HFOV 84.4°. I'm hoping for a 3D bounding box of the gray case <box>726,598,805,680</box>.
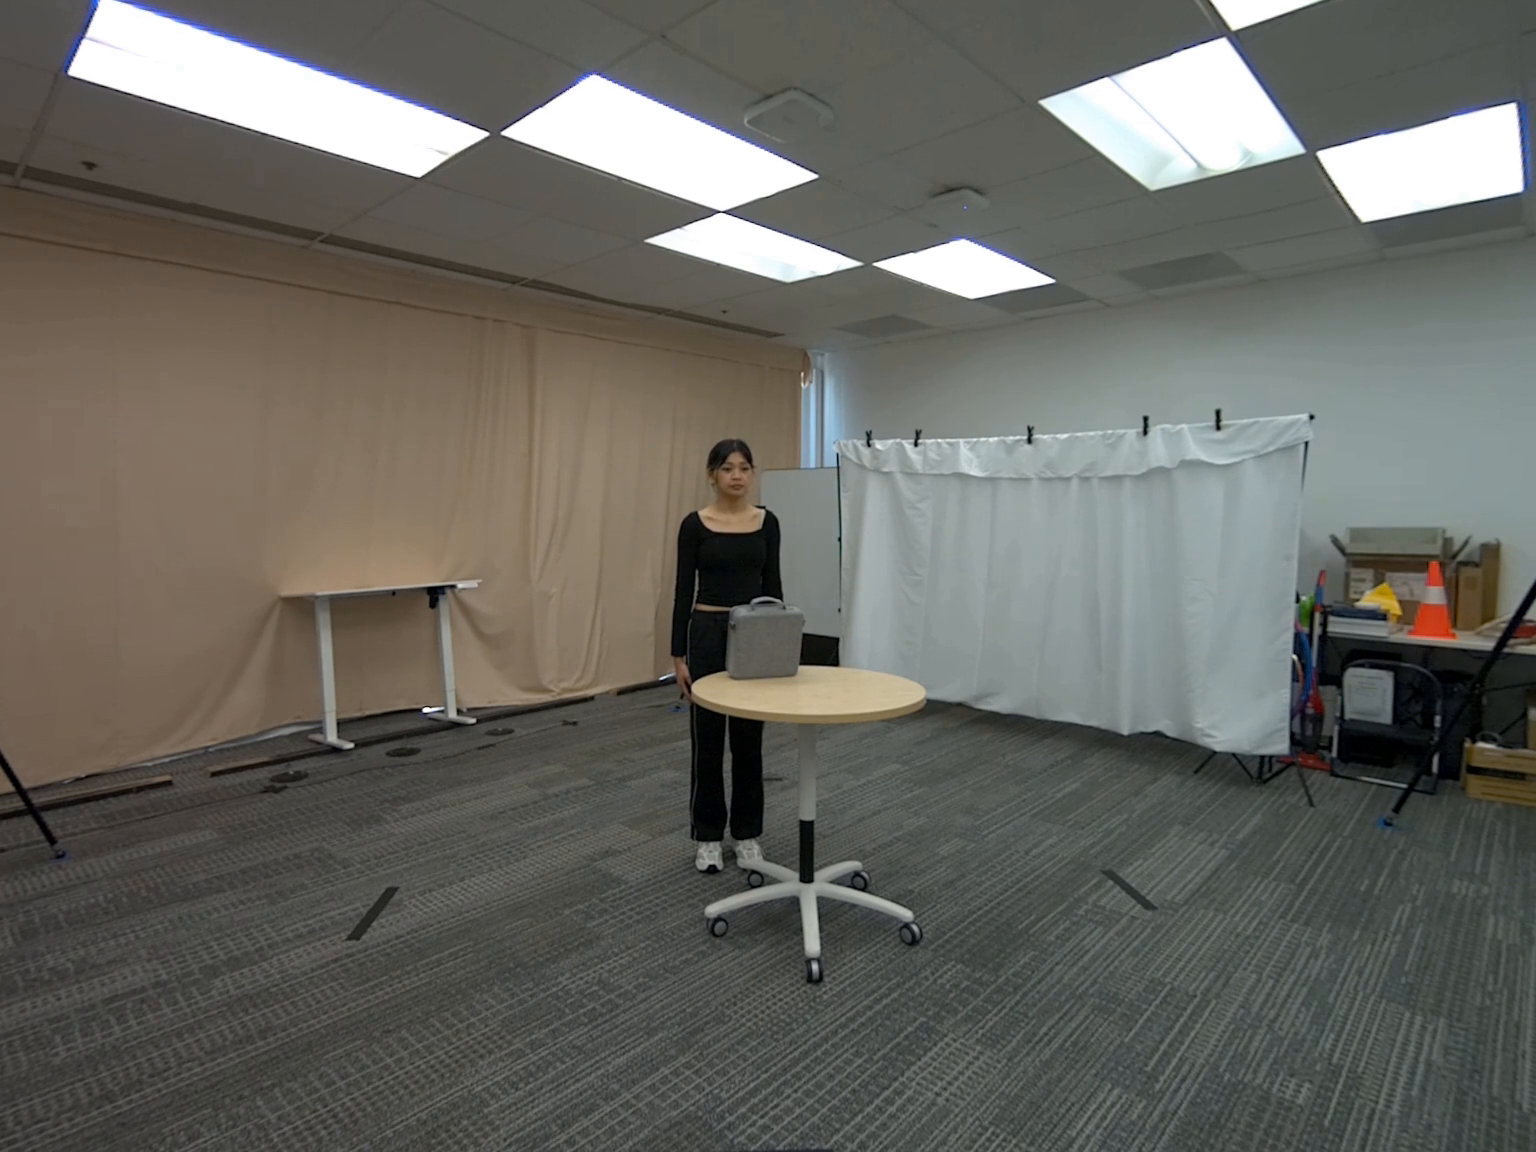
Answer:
[{"bbox_3d":[-0.012,0.223,2.942,0.252,0.258,0.107,-2,16,-18],"label":"gray case"}]
